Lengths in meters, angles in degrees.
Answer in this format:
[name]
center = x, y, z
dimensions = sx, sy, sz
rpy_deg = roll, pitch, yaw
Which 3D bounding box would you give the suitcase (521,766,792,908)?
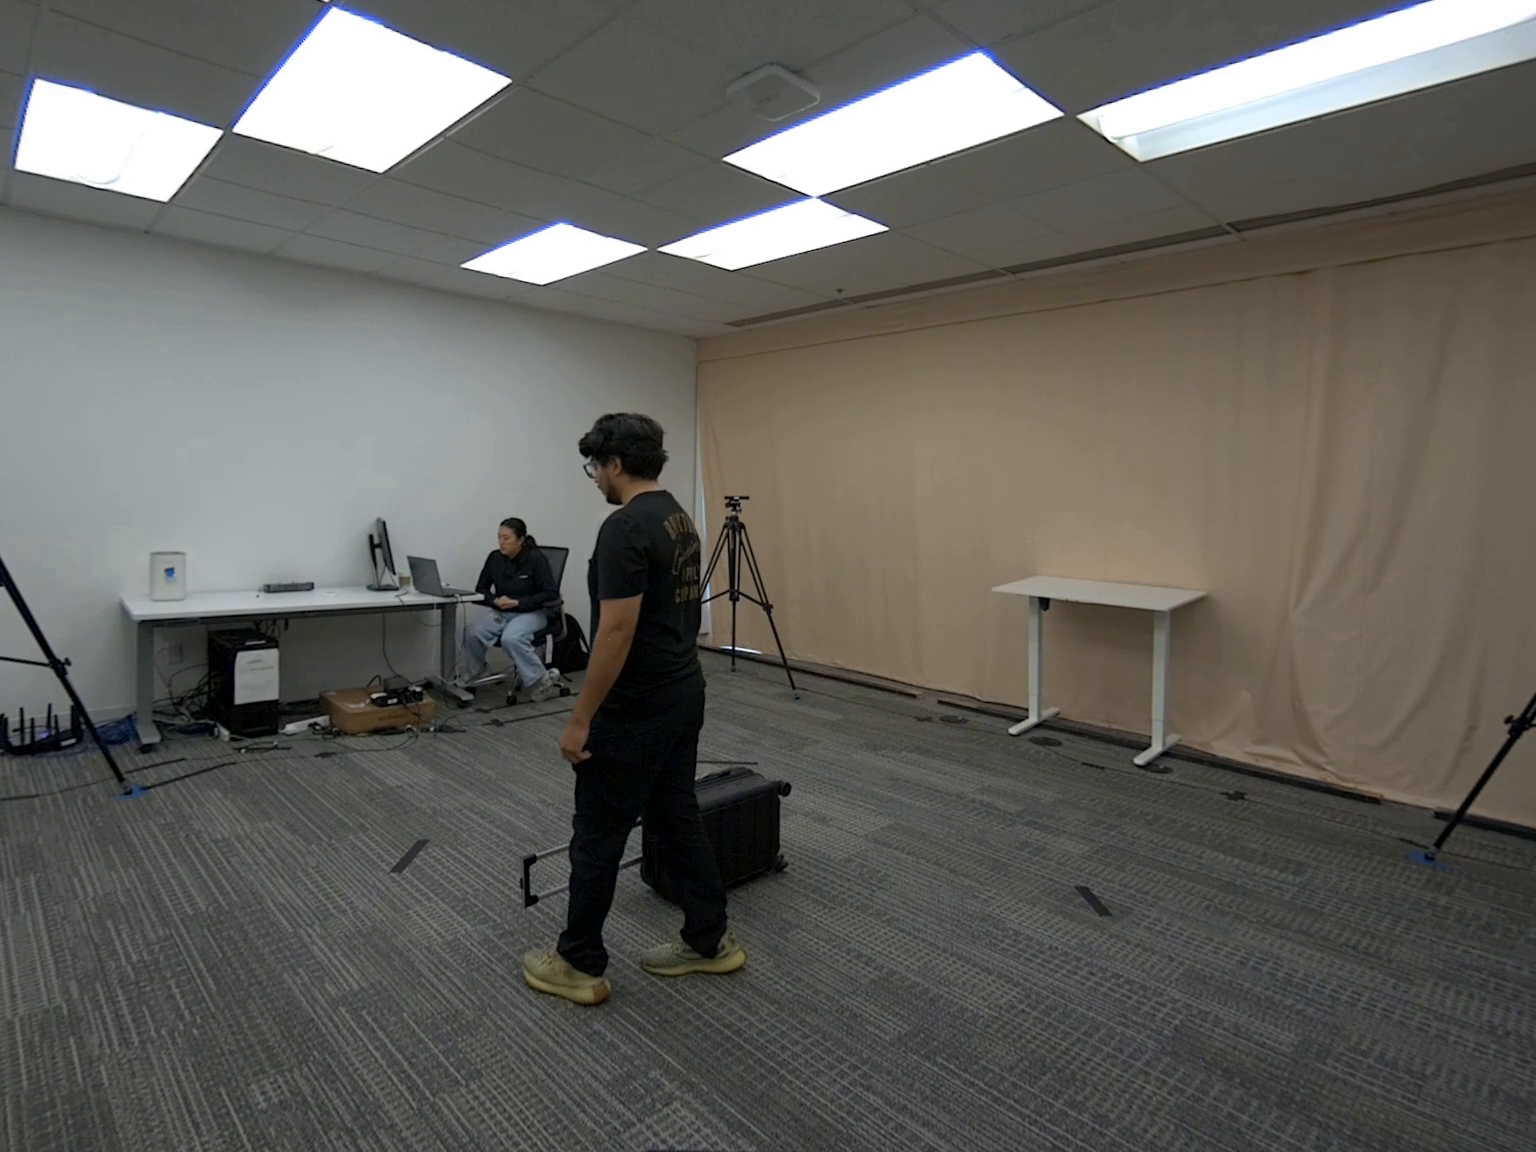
[suitcase]
center = -0.345, 0.934, 2.892
dimensions = 0.957, 0.383, 0.263
rpy_deg = -4, 6, -44
